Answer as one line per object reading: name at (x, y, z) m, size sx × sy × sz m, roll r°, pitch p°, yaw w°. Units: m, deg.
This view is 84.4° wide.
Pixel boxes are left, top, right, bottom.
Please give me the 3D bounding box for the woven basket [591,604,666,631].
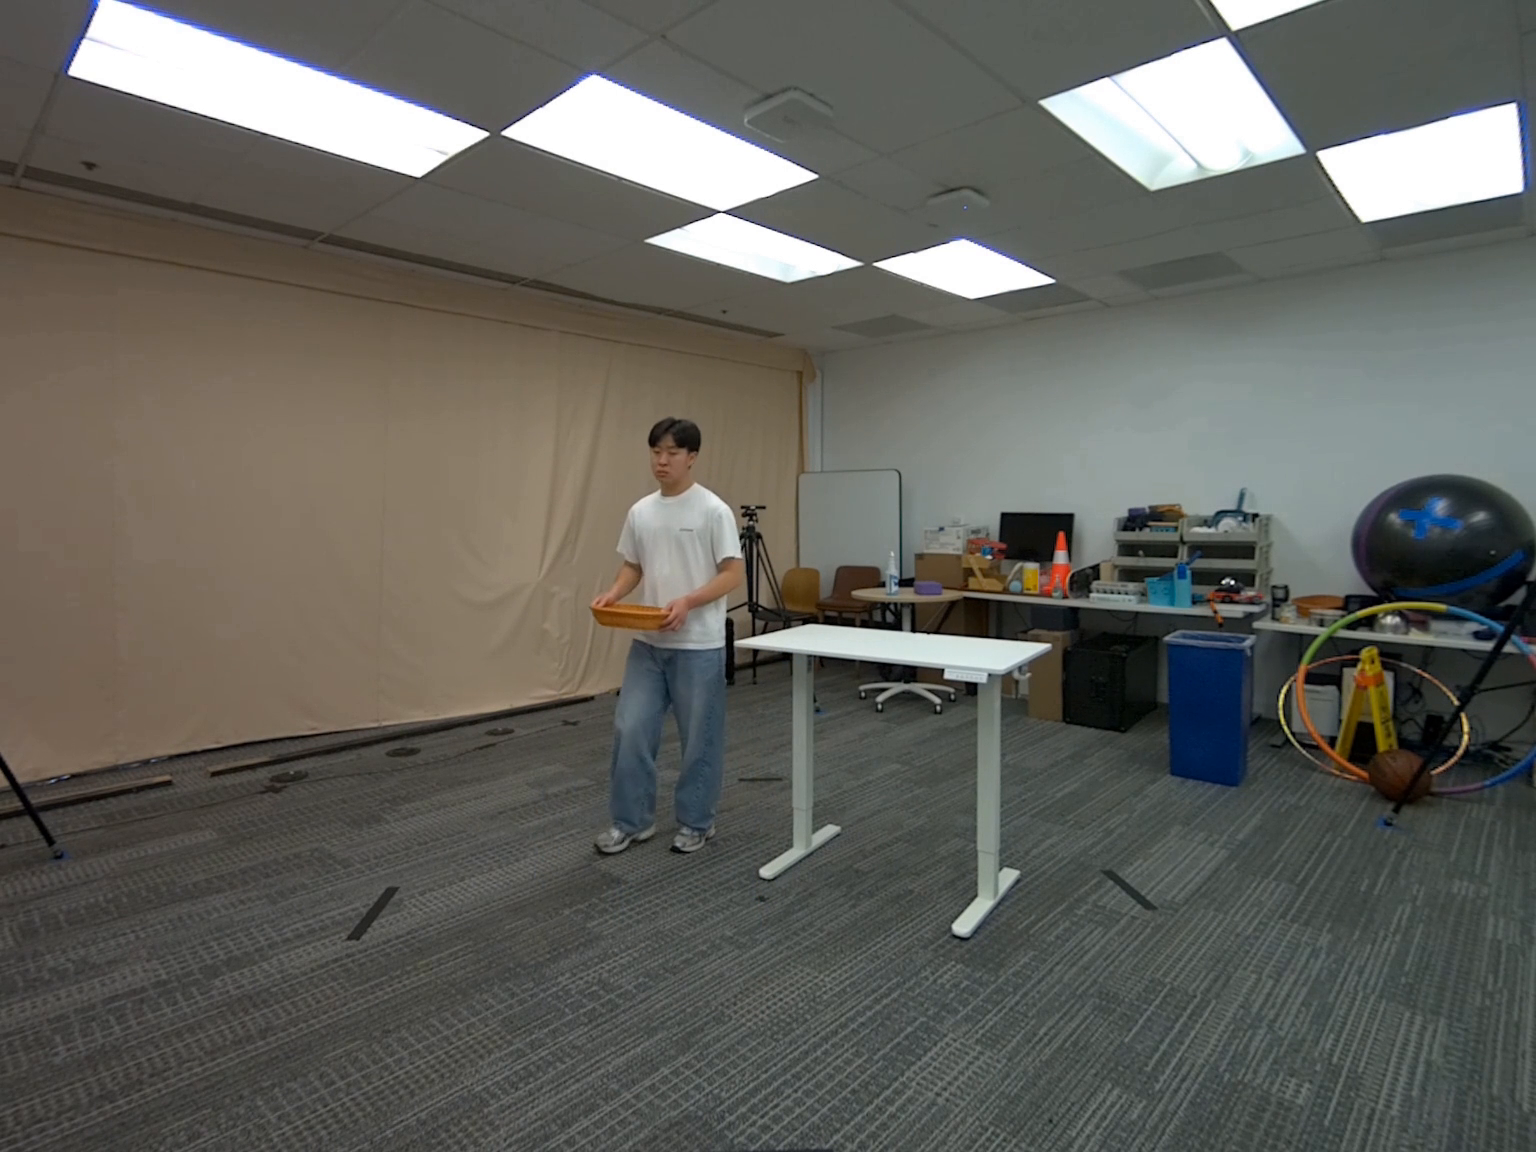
woven basket at (-0.514, 0.161, 3.243) m, size 0.362 × 0.073 × 0.244 m, roll 4°, pitch 3°, yaw 37°
